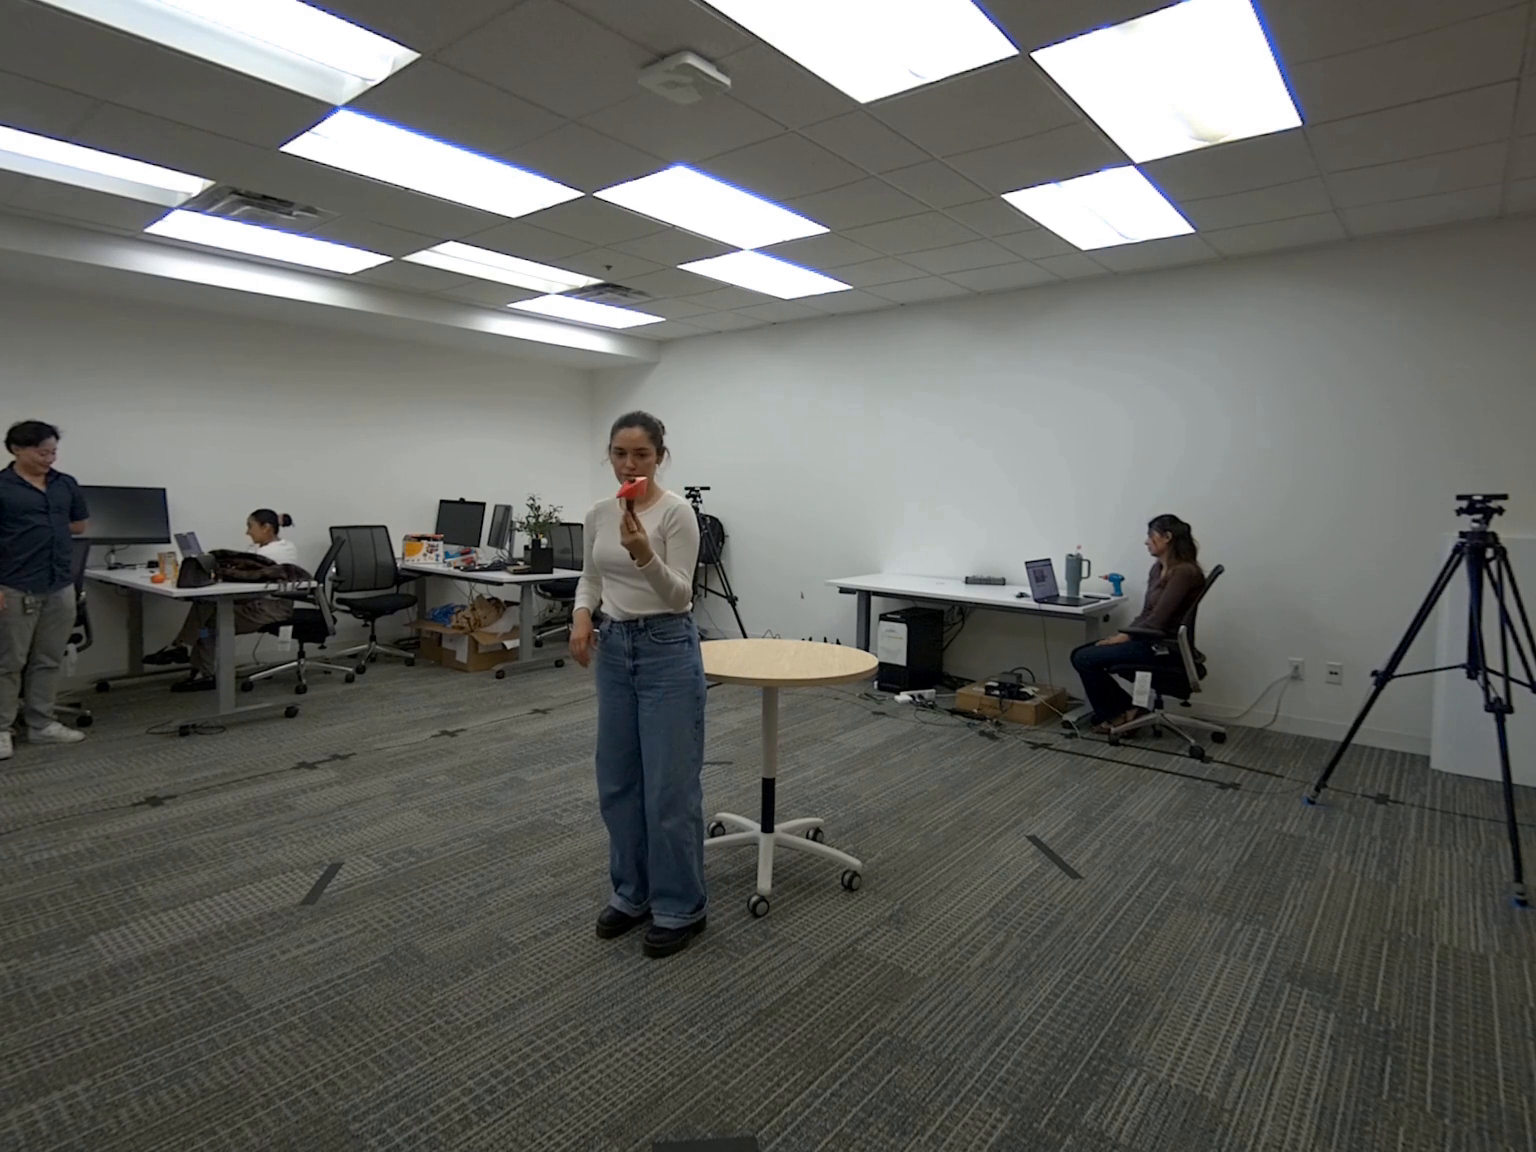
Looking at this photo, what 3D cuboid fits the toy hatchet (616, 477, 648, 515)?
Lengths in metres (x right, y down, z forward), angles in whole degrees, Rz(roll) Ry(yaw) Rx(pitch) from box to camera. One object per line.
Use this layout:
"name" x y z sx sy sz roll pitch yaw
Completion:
"toy hatchet" -0.379 -0.175 2.364 0.030 0.262 0.131 21 53 18
